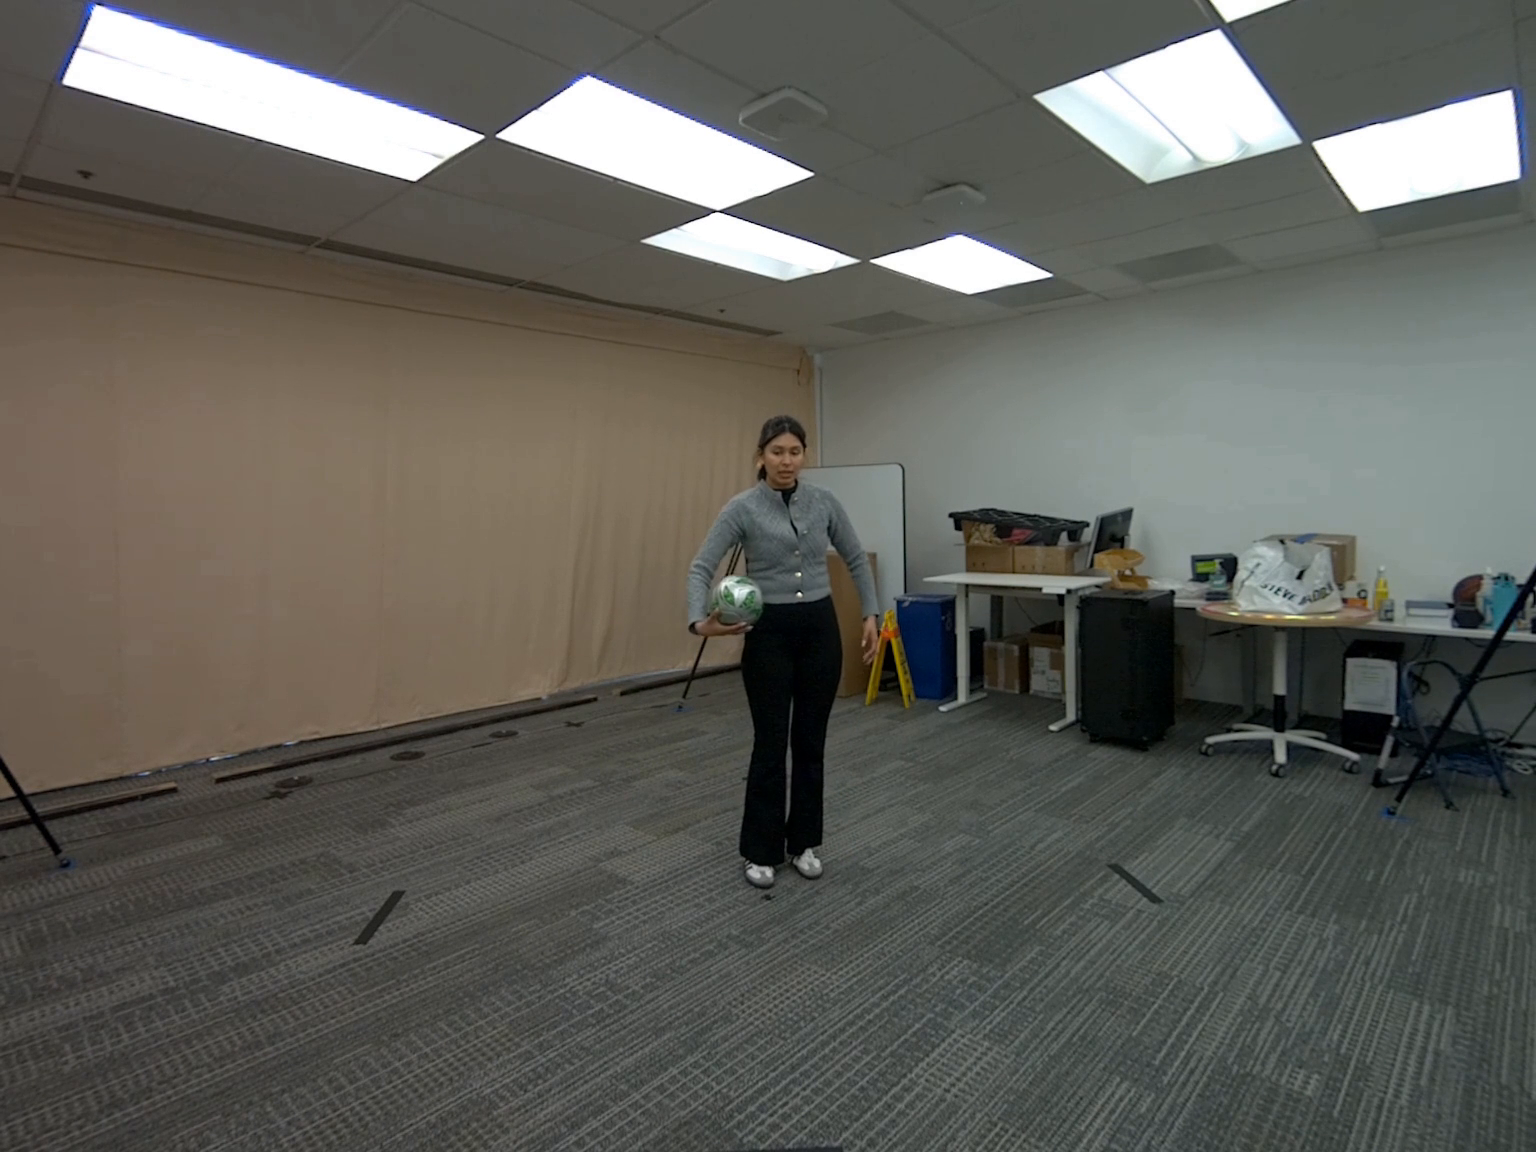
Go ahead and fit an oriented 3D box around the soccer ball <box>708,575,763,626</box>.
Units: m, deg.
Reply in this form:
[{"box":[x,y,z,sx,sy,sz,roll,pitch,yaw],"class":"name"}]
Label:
[{"box":[-0.105,0.088,2.876,0.187,0.187,0.188,-1,4,-2],"class":"soccer ball"}]
